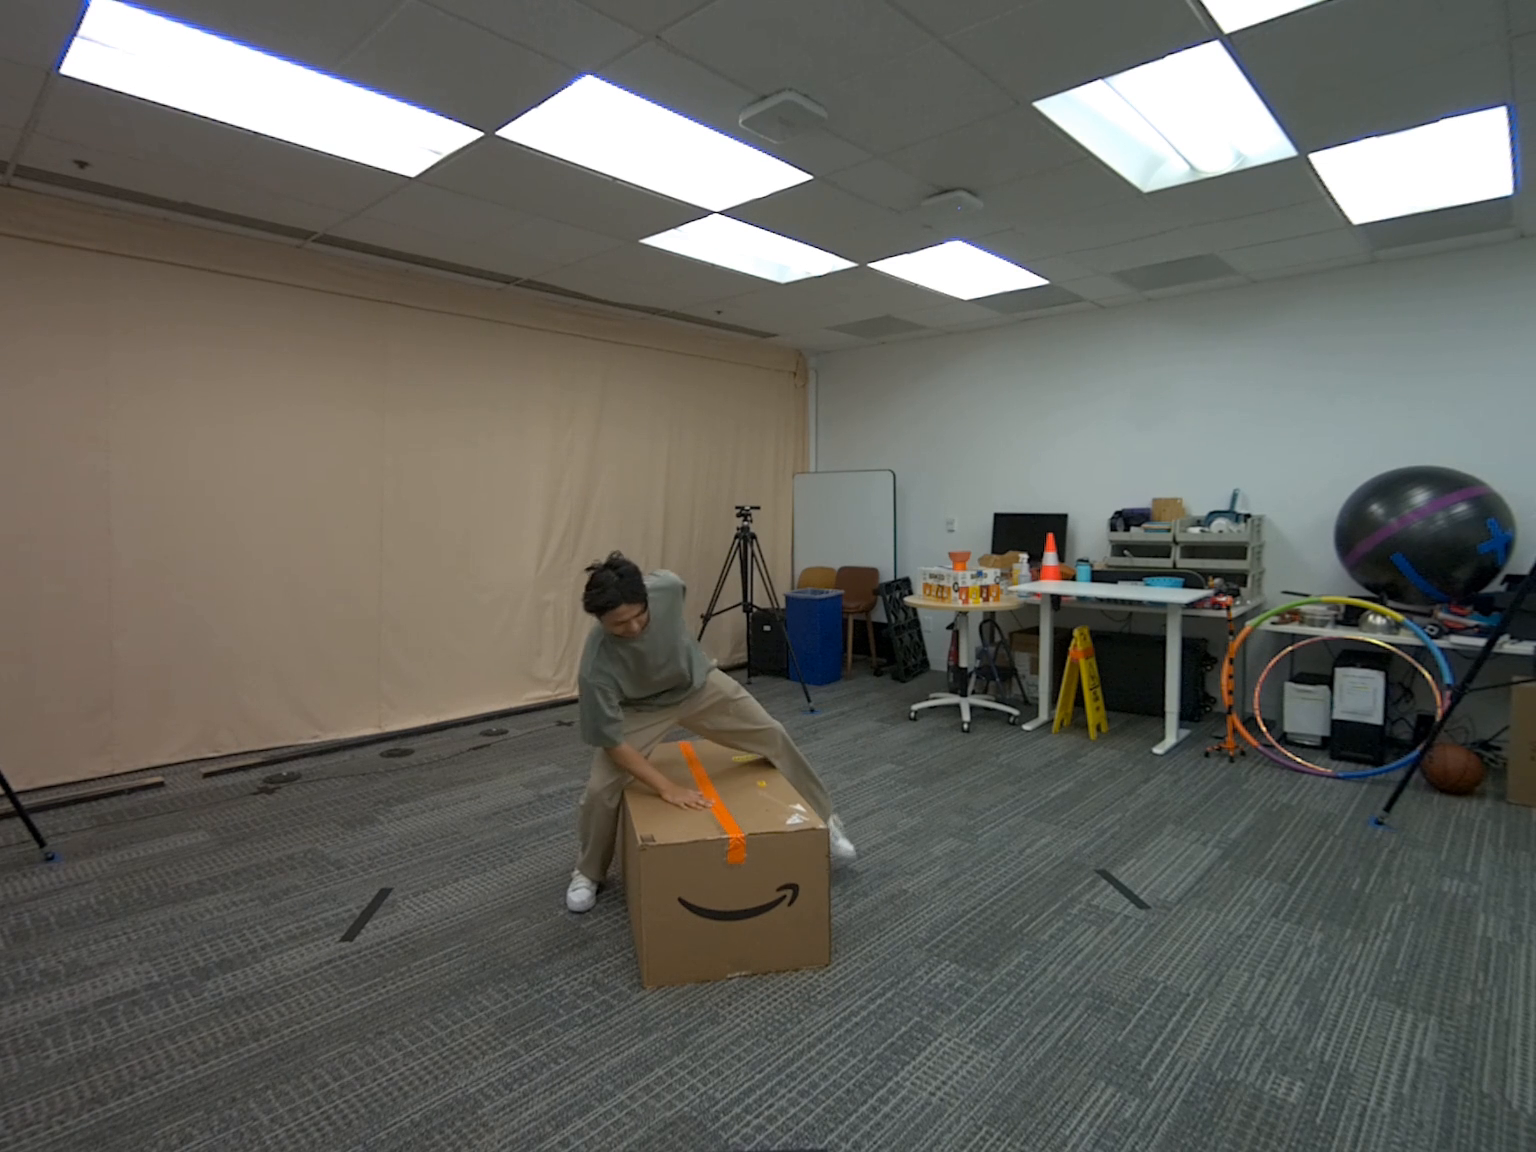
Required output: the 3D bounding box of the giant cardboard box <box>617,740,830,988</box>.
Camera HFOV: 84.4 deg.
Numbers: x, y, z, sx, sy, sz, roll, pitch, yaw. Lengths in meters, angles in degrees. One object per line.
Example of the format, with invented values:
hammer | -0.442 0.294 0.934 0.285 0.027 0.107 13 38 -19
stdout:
giant cardboard box | -0.215 0.935 2.972 0.570 0.425 1.042 -1 4 -14
